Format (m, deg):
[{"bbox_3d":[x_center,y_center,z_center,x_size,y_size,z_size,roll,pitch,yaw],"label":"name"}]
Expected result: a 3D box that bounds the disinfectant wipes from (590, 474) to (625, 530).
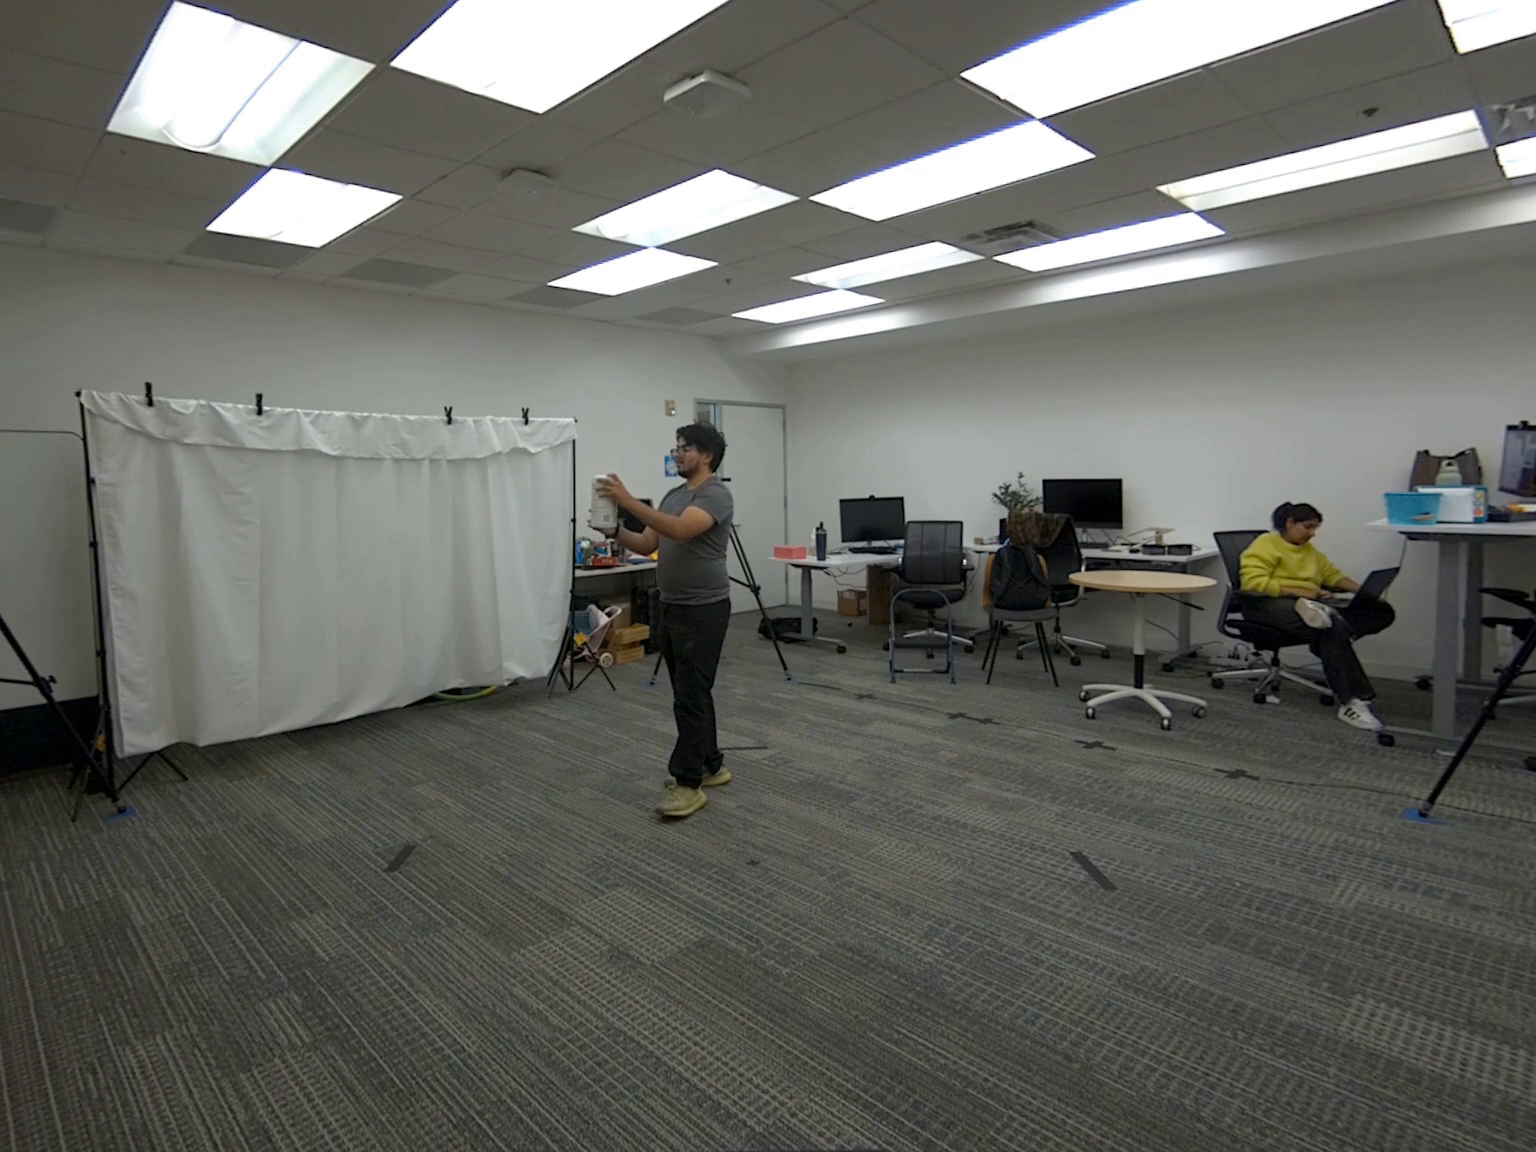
[{"bbox_3d":[-0.669,-0.312,3.565,0.118,0.216,0.119,-1,9,-2],"label":"disinfectant wipes"}]
